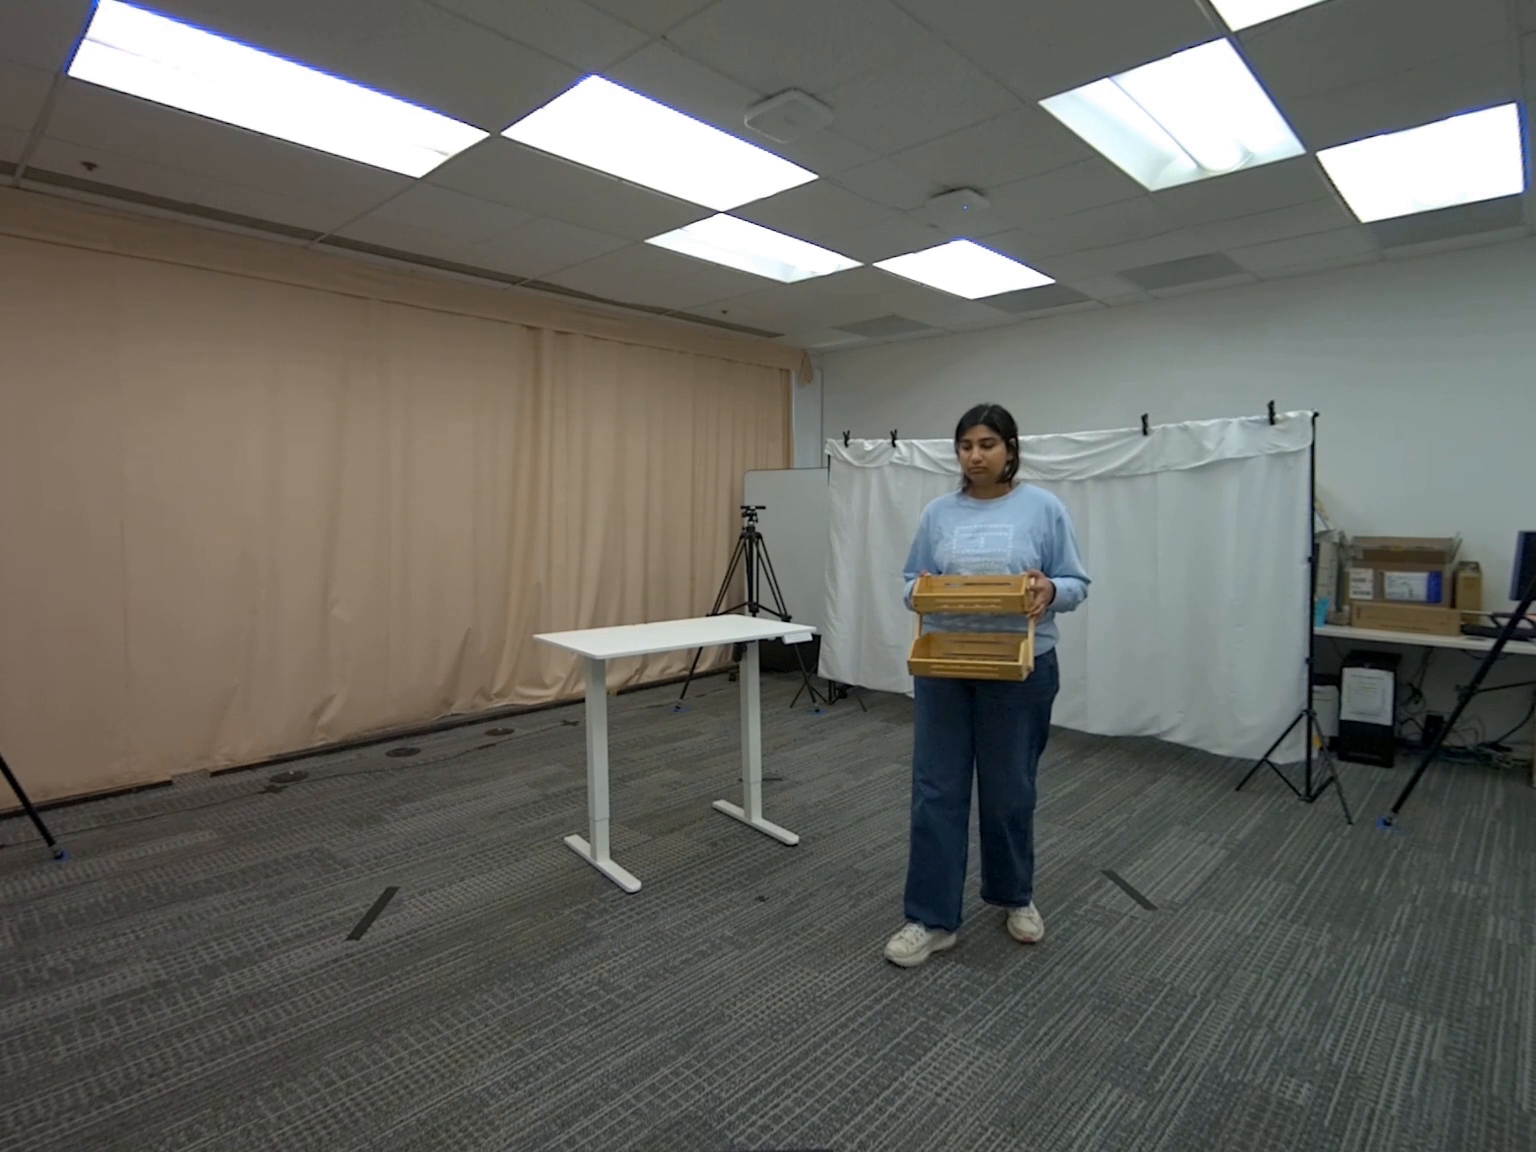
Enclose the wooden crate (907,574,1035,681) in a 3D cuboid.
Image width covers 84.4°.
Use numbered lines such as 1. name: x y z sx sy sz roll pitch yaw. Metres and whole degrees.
1. wooden crate: 0.574 0.131 2.379 0.332 0.273 0.295 -1 2 25
